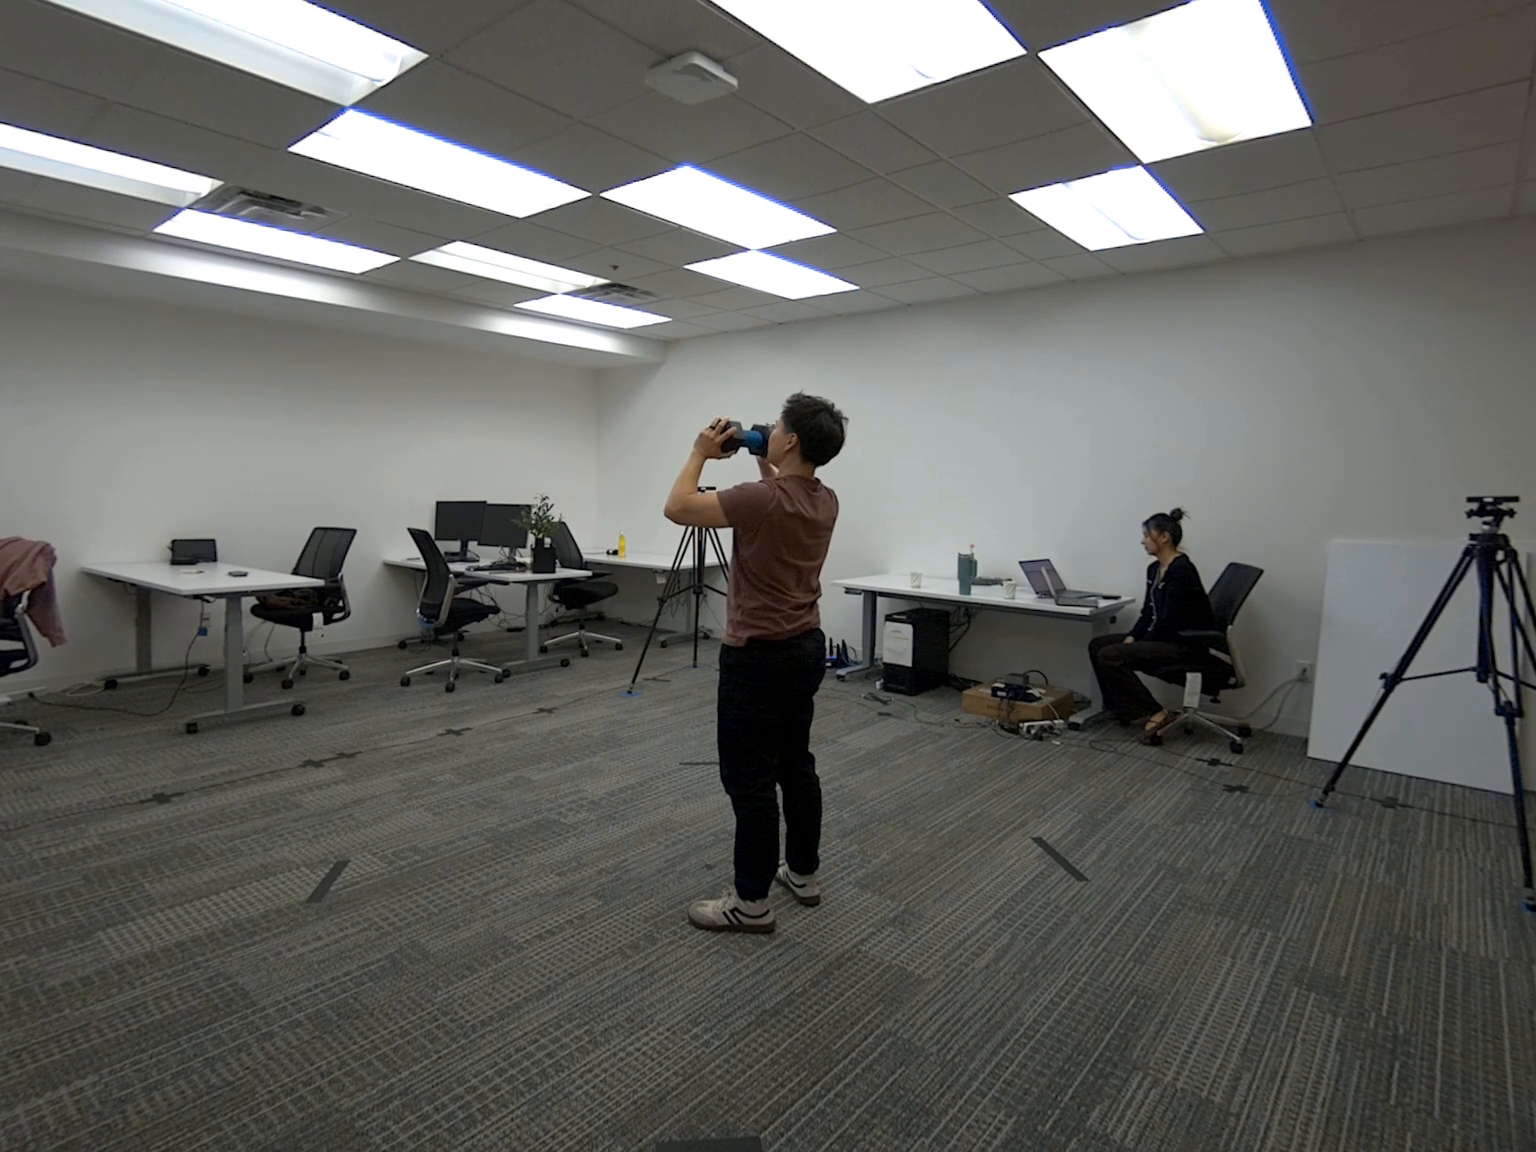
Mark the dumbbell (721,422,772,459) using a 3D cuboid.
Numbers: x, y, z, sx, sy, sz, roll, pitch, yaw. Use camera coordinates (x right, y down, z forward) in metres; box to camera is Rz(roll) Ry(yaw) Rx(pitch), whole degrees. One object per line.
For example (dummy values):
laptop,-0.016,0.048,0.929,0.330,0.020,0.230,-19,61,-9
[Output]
dumbbell,-0.085,-0.468,2.862,0.285,0.122,0.112,-2,44,-53
